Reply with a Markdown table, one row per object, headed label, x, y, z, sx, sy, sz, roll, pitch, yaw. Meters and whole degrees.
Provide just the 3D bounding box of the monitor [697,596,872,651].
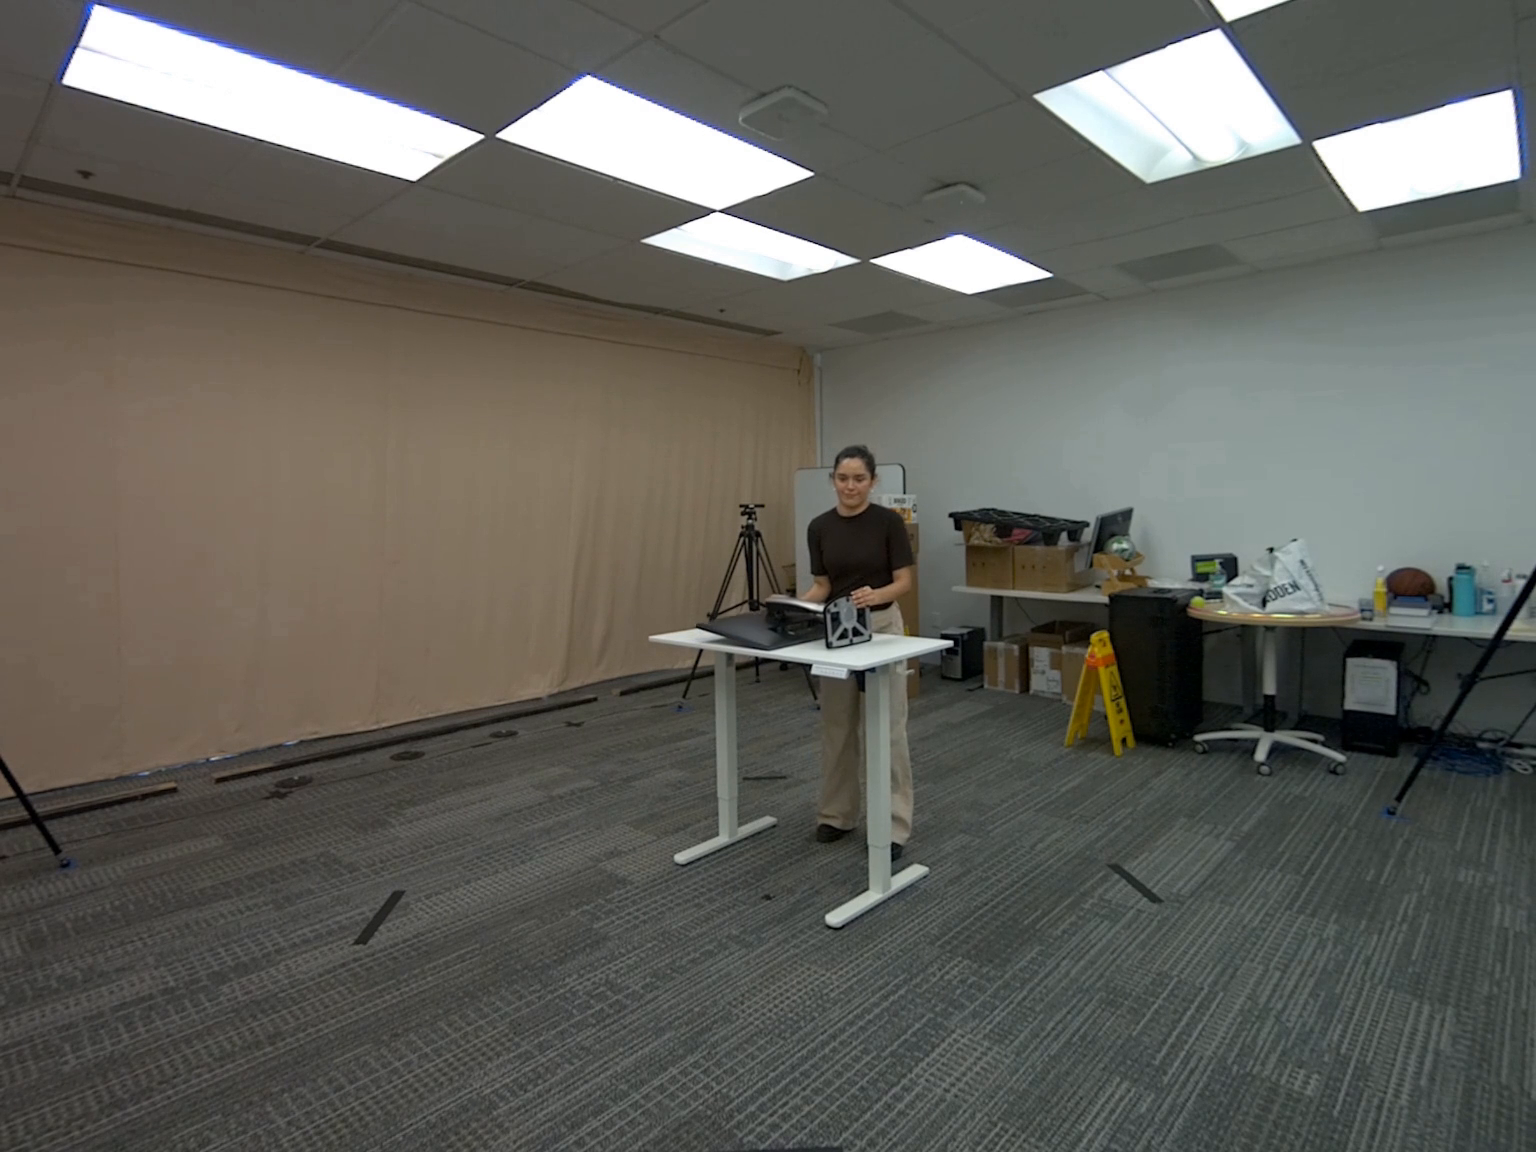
| label | x | y | z | sx | sy | sz | roll | pitch | yaw |
| --- | --- | --- | --- | --- | --- | --- | --- | --- | --- |
| monitor | 0.100 | 0.171 | 3.161 | 0.539 | 0.187 | 0.522 | -2 | 0 | 44 |
